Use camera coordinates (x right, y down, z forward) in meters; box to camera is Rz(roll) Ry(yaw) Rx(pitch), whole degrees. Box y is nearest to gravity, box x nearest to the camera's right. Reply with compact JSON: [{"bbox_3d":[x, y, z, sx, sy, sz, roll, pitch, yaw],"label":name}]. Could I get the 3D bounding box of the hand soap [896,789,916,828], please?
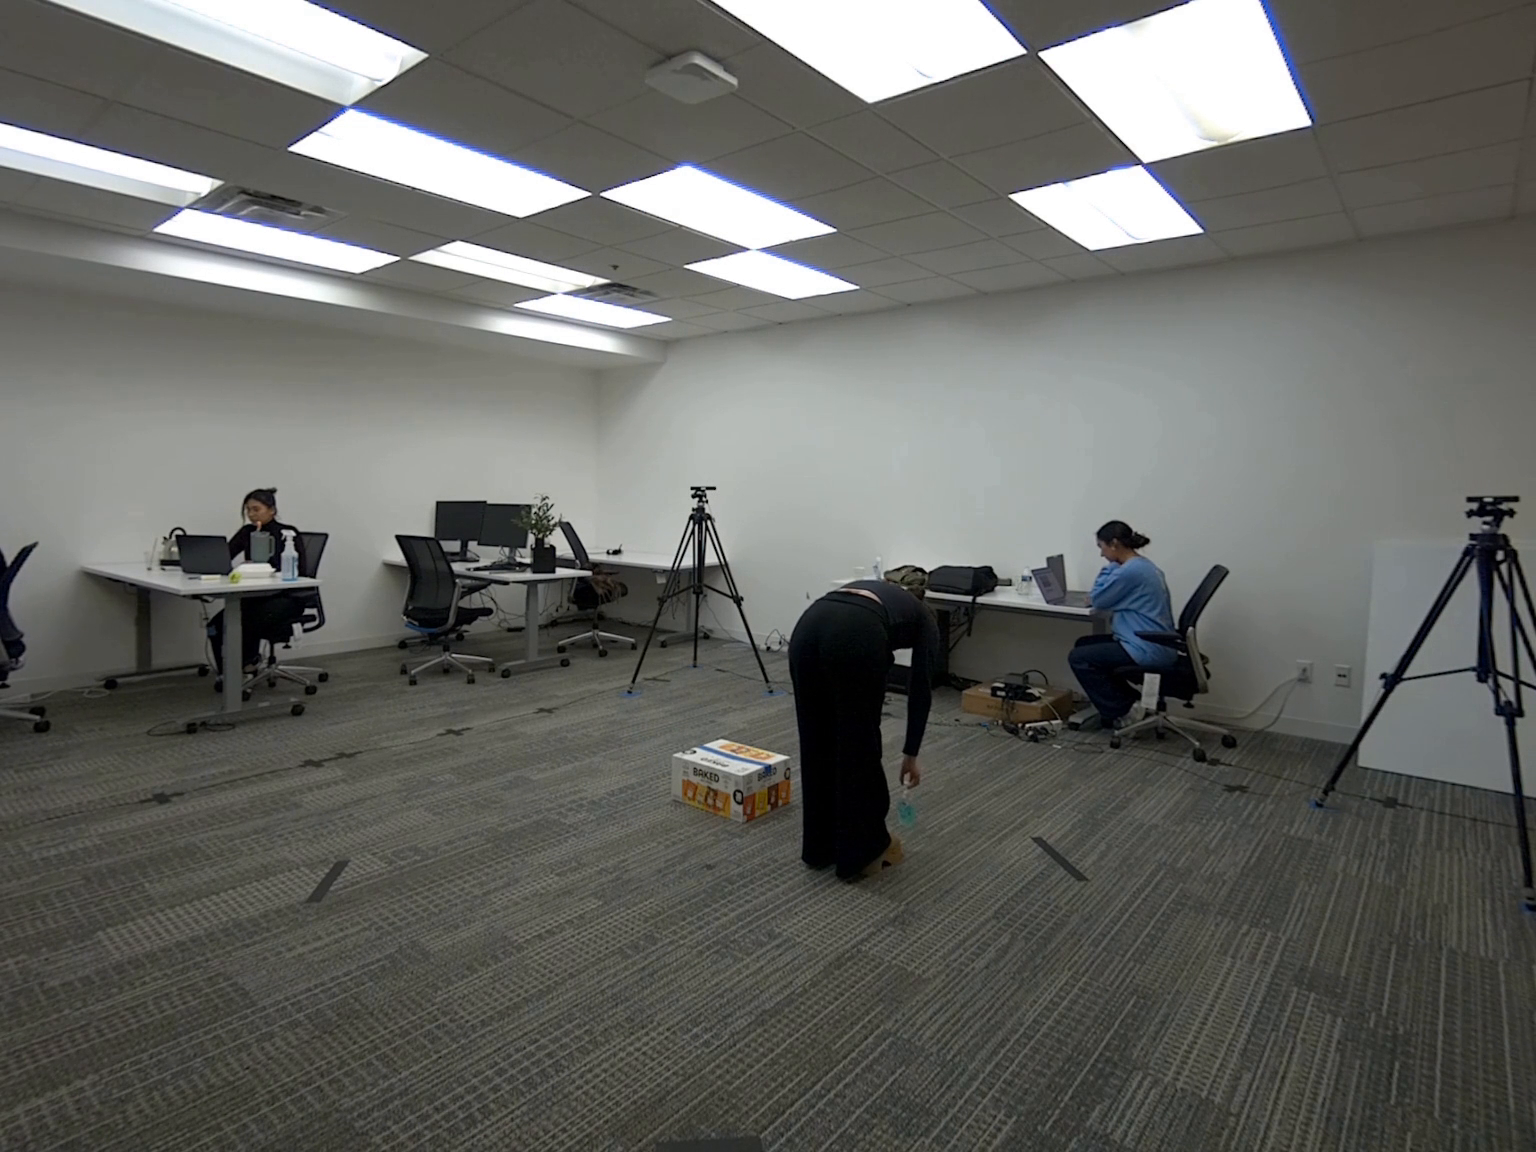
[{"bbox_3d":[0.525,0.867,3.293,0.043,0.166,0.086,4,15,-9],"label":"hand soap"}]
